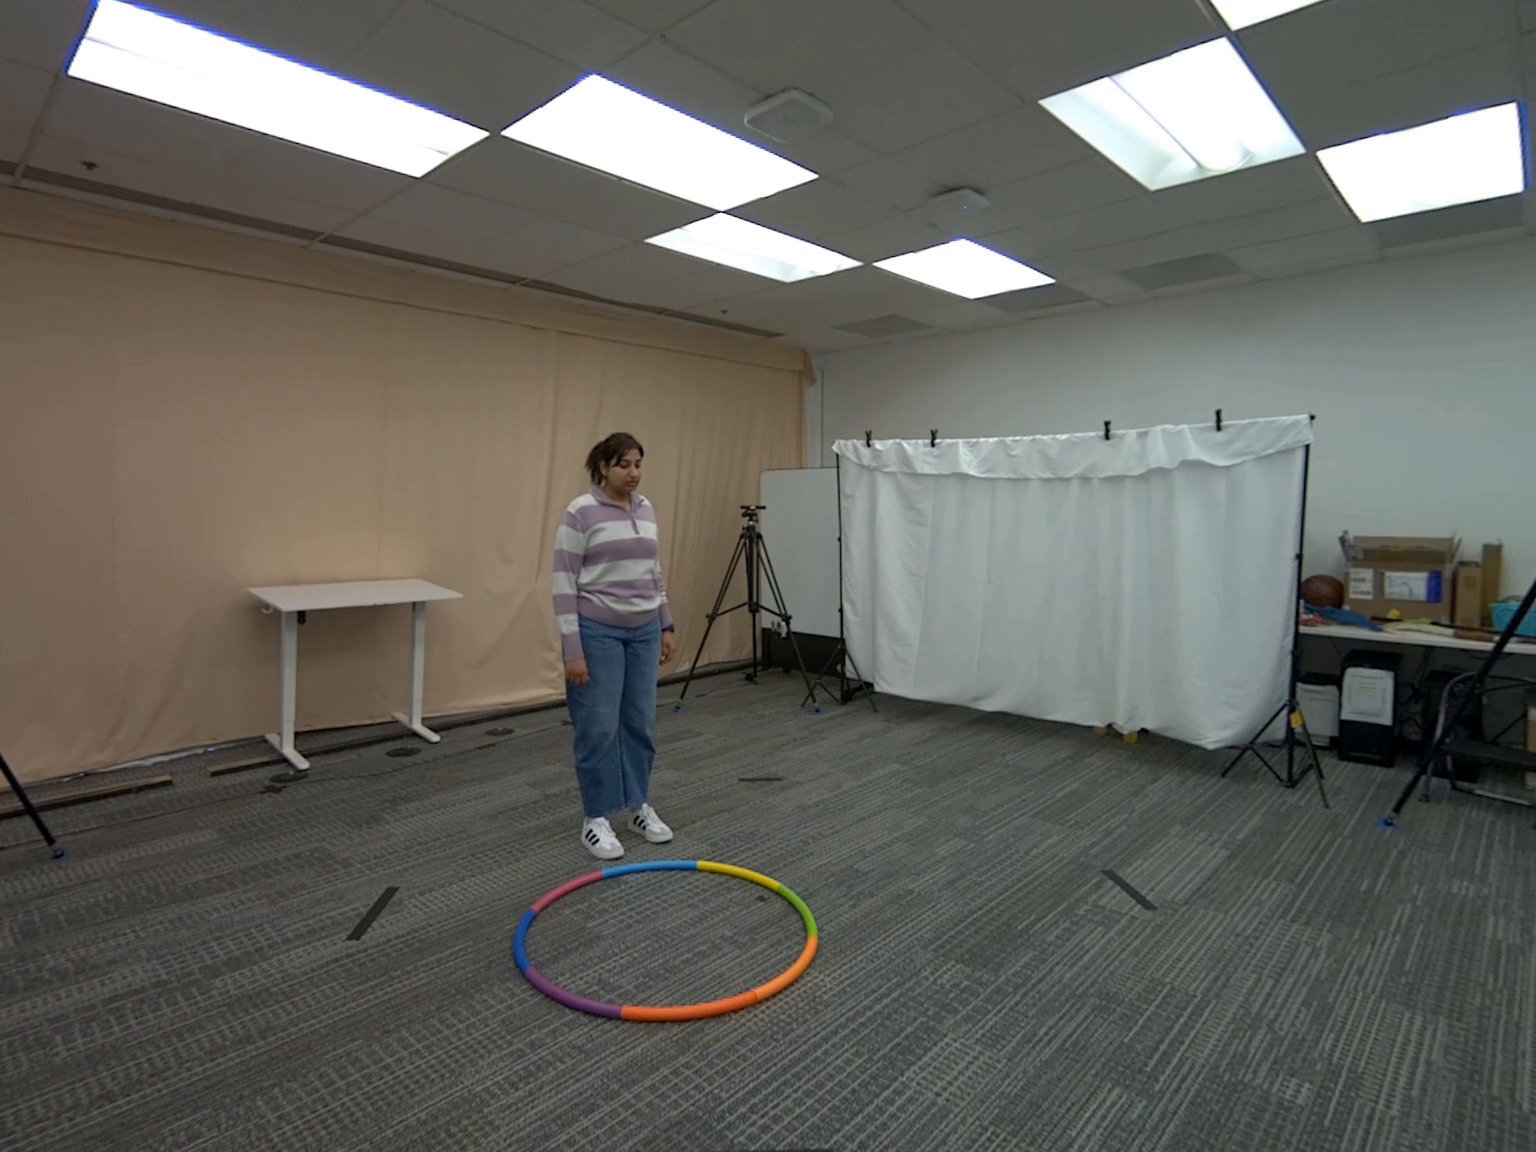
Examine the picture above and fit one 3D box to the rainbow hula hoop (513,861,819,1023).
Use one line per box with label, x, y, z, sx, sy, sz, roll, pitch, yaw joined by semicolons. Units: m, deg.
rainbow hula hoop;-0.325;1.140;2.755;0.985;0.051;0.989;-1;5;-2
